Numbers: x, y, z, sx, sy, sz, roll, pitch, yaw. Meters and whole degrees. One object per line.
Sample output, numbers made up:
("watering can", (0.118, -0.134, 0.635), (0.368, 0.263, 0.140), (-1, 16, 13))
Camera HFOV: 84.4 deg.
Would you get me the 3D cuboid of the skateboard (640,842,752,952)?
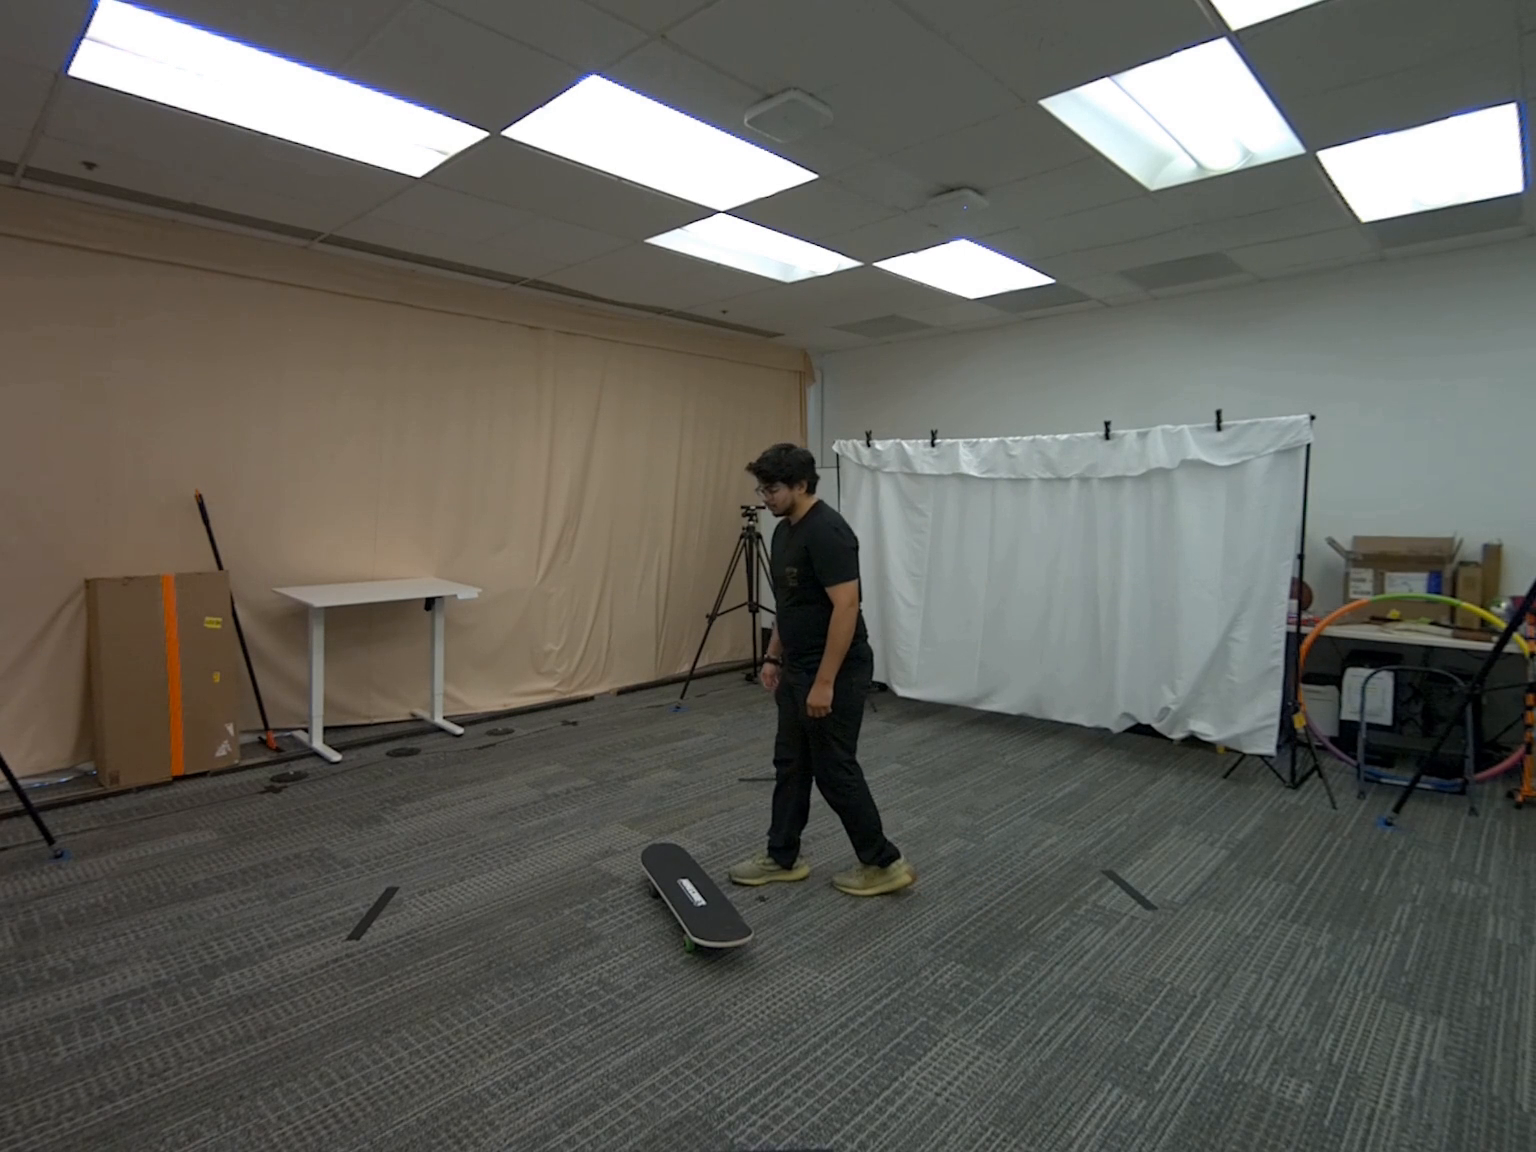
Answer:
("skateboard", (-0.253, 1.099, 2.849), (0.189, 0.110, 0.804), (-1, 5, -23))
